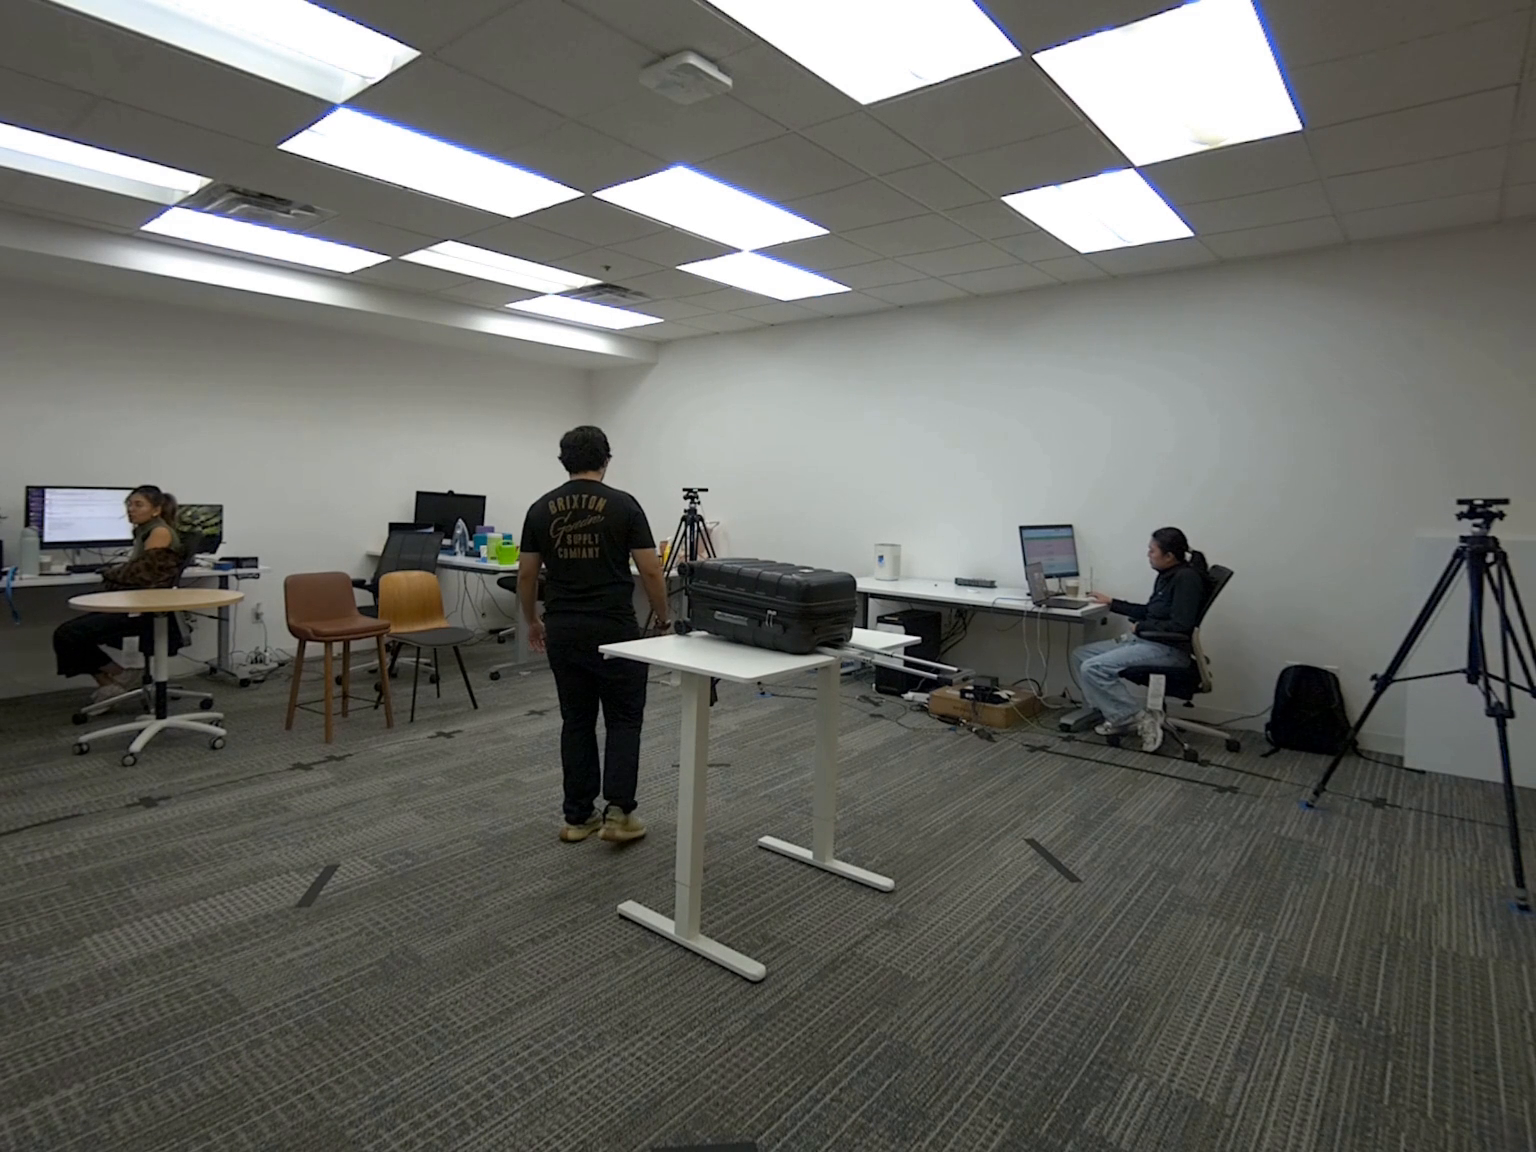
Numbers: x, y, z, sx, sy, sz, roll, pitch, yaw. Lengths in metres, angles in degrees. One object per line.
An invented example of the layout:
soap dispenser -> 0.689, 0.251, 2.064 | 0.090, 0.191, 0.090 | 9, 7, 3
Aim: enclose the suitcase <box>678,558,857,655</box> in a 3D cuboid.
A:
suitcase -> 0.157, 0.113, 2.724 | 1.012, 0.256, 0.372 | 7, 5, 39
